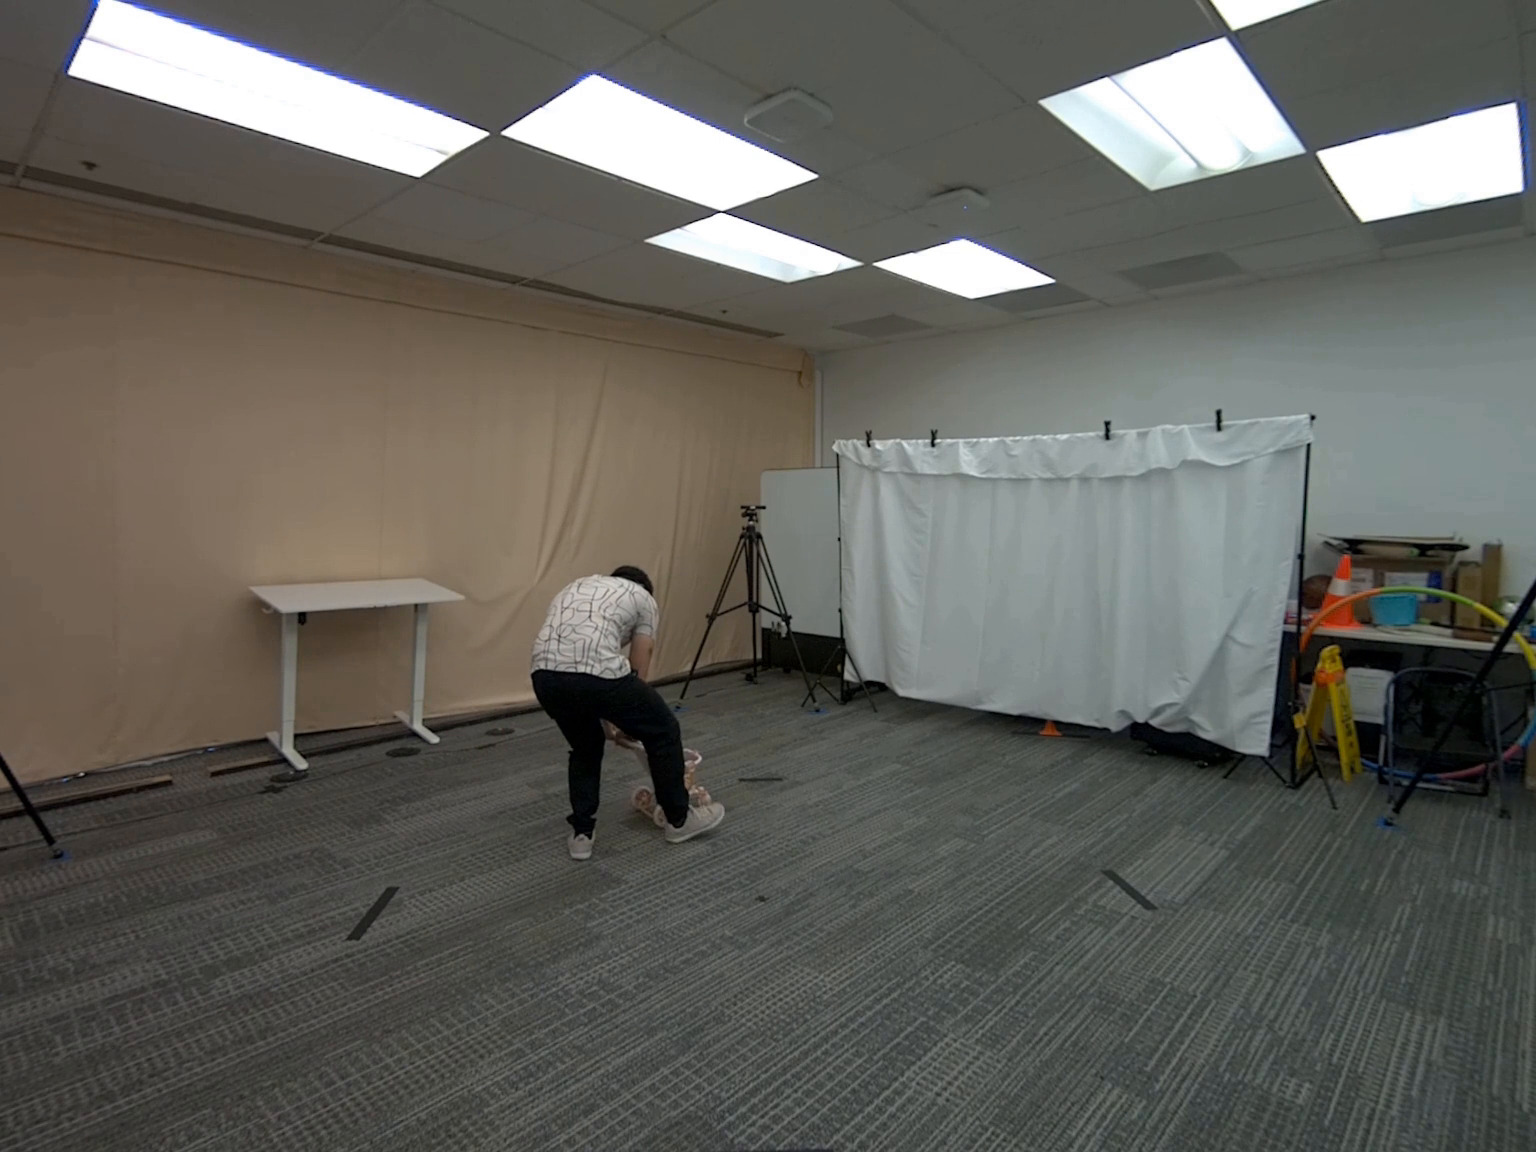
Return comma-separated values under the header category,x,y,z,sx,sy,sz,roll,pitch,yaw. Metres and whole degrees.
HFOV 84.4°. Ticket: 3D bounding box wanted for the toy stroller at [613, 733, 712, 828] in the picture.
category,x,y,z,sx,sy,sz,roll,pitch,yaw
toy stroller,-0.464,0.859,3.774,0.336,0.529,0.289,-22,13,-23
